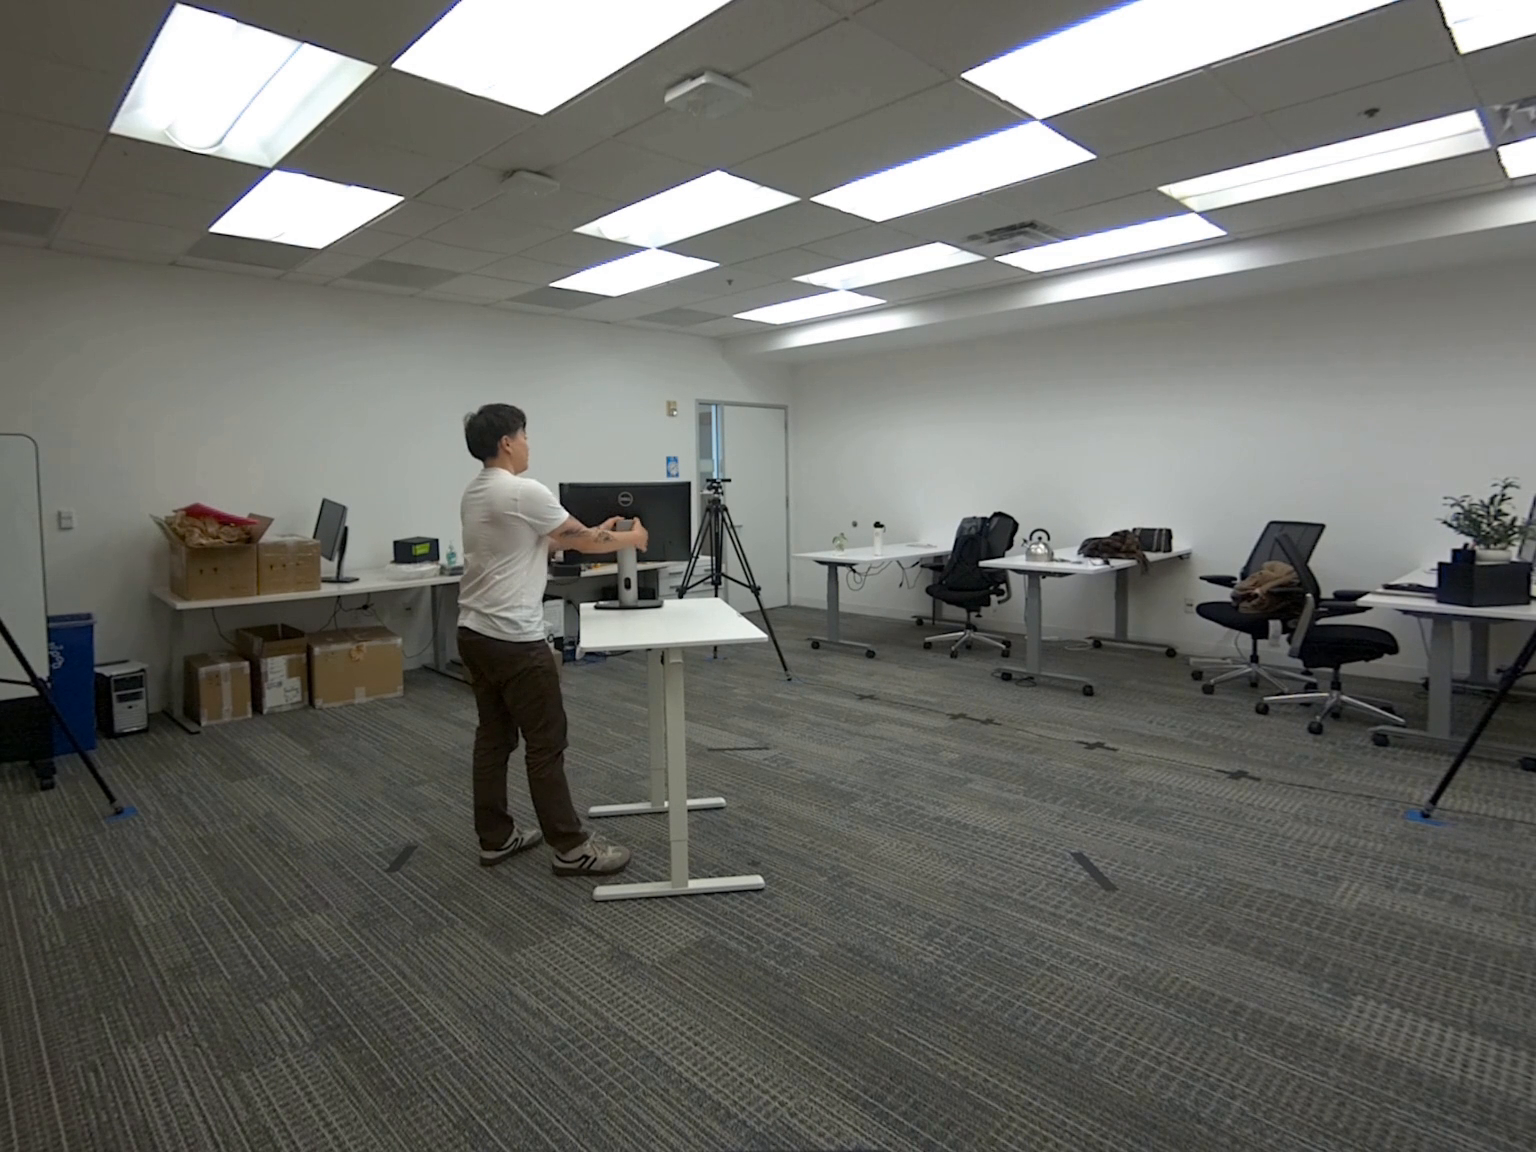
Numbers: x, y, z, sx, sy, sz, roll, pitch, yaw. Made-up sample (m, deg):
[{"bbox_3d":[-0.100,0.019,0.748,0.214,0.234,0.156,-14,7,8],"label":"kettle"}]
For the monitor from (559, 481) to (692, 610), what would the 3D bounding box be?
[{"bbox_3d":[-0.580,-0.123,3.504,0.536,0.519,0.189,-1,7,-5],"label":"monitor"}]
